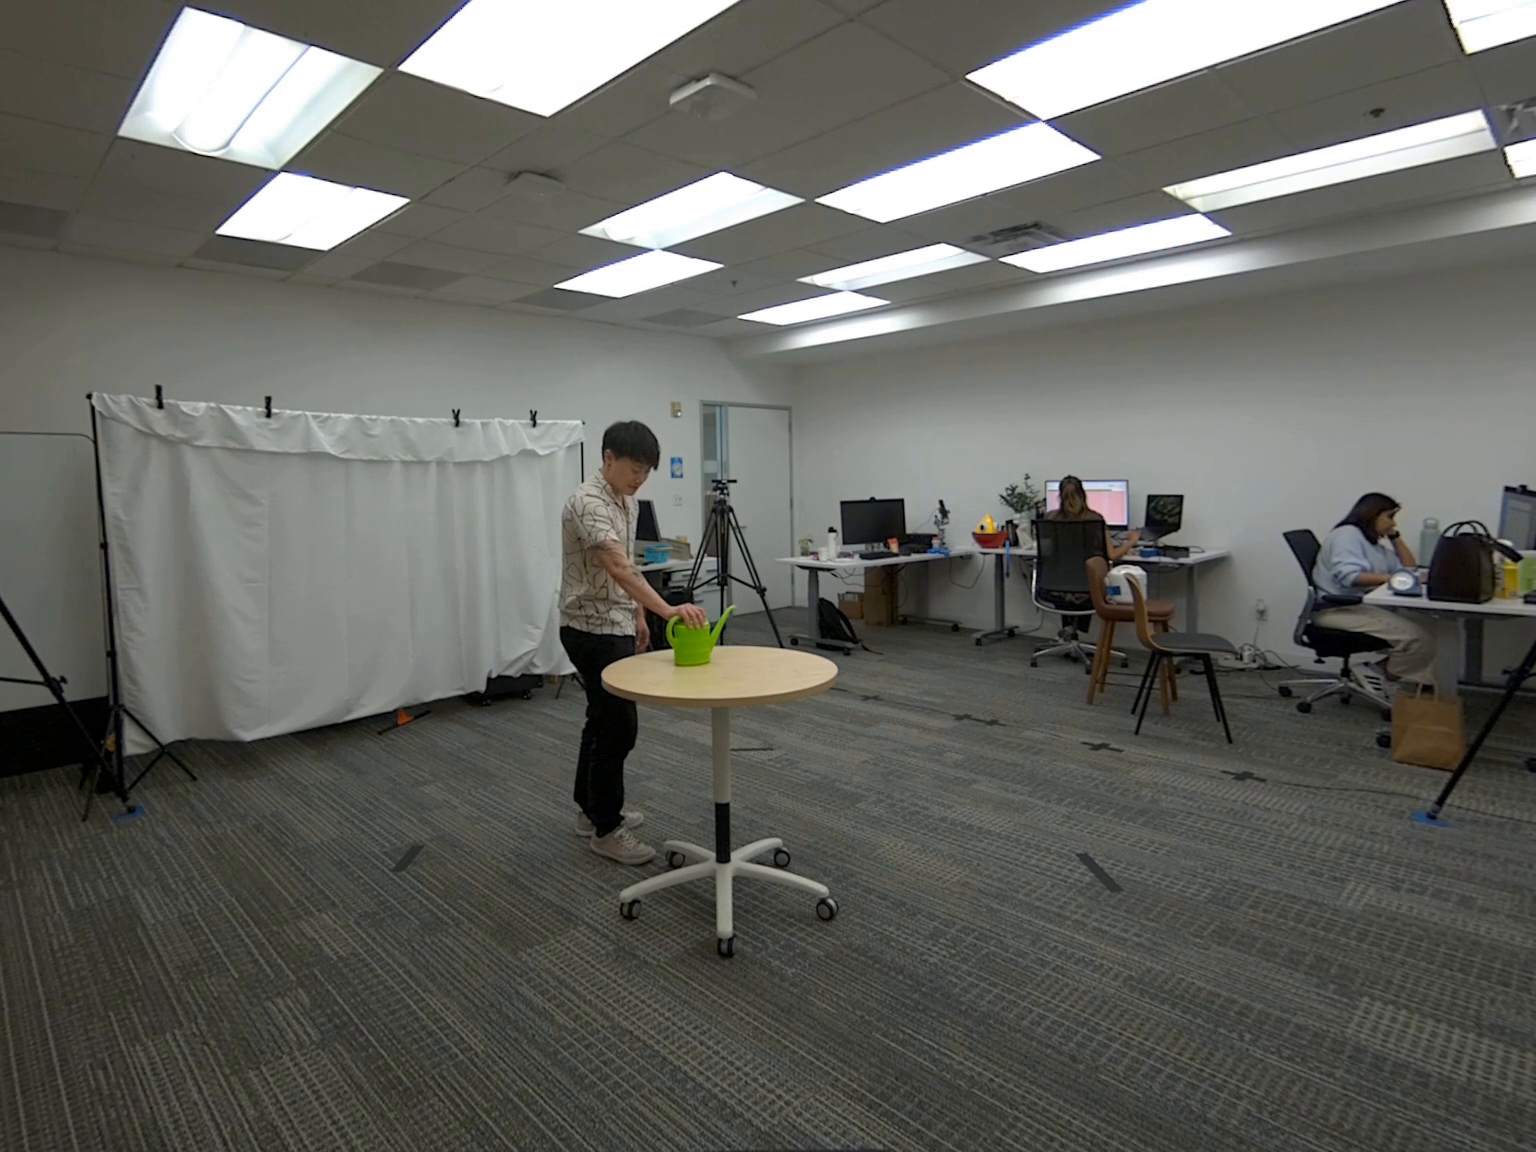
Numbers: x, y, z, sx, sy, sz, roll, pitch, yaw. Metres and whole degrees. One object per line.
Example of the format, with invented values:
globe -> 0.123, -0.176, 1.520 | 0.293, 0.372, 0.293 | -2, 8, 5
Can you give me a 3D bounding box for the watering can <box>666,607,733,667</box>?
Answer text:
watering can -> -0.215, 0.206, 2.892 | 0.273, 0.176, 0.100 | -6, 5, -22
